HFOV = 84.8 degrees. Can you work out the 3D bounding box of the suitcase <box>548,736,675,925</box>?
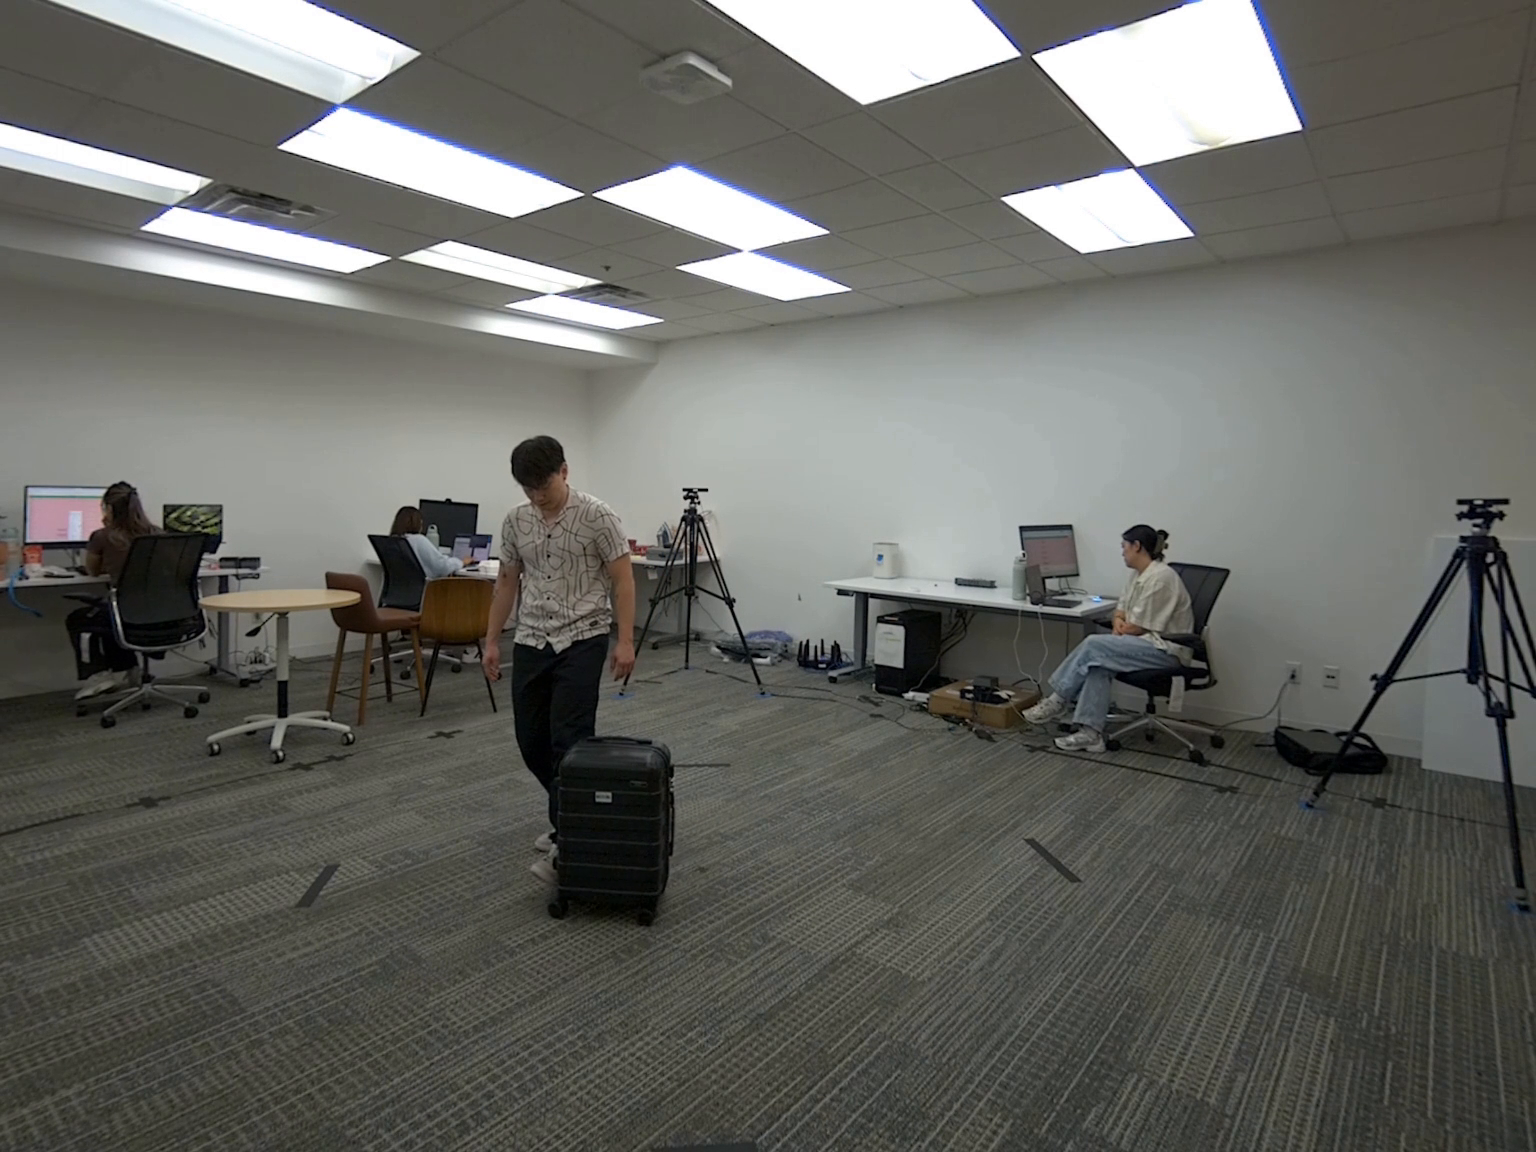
[{"bbox_3d":[-0.512,0.814,2.811,0.378,0.547,0.248,2,4,5],"label":"suitcase"}]
